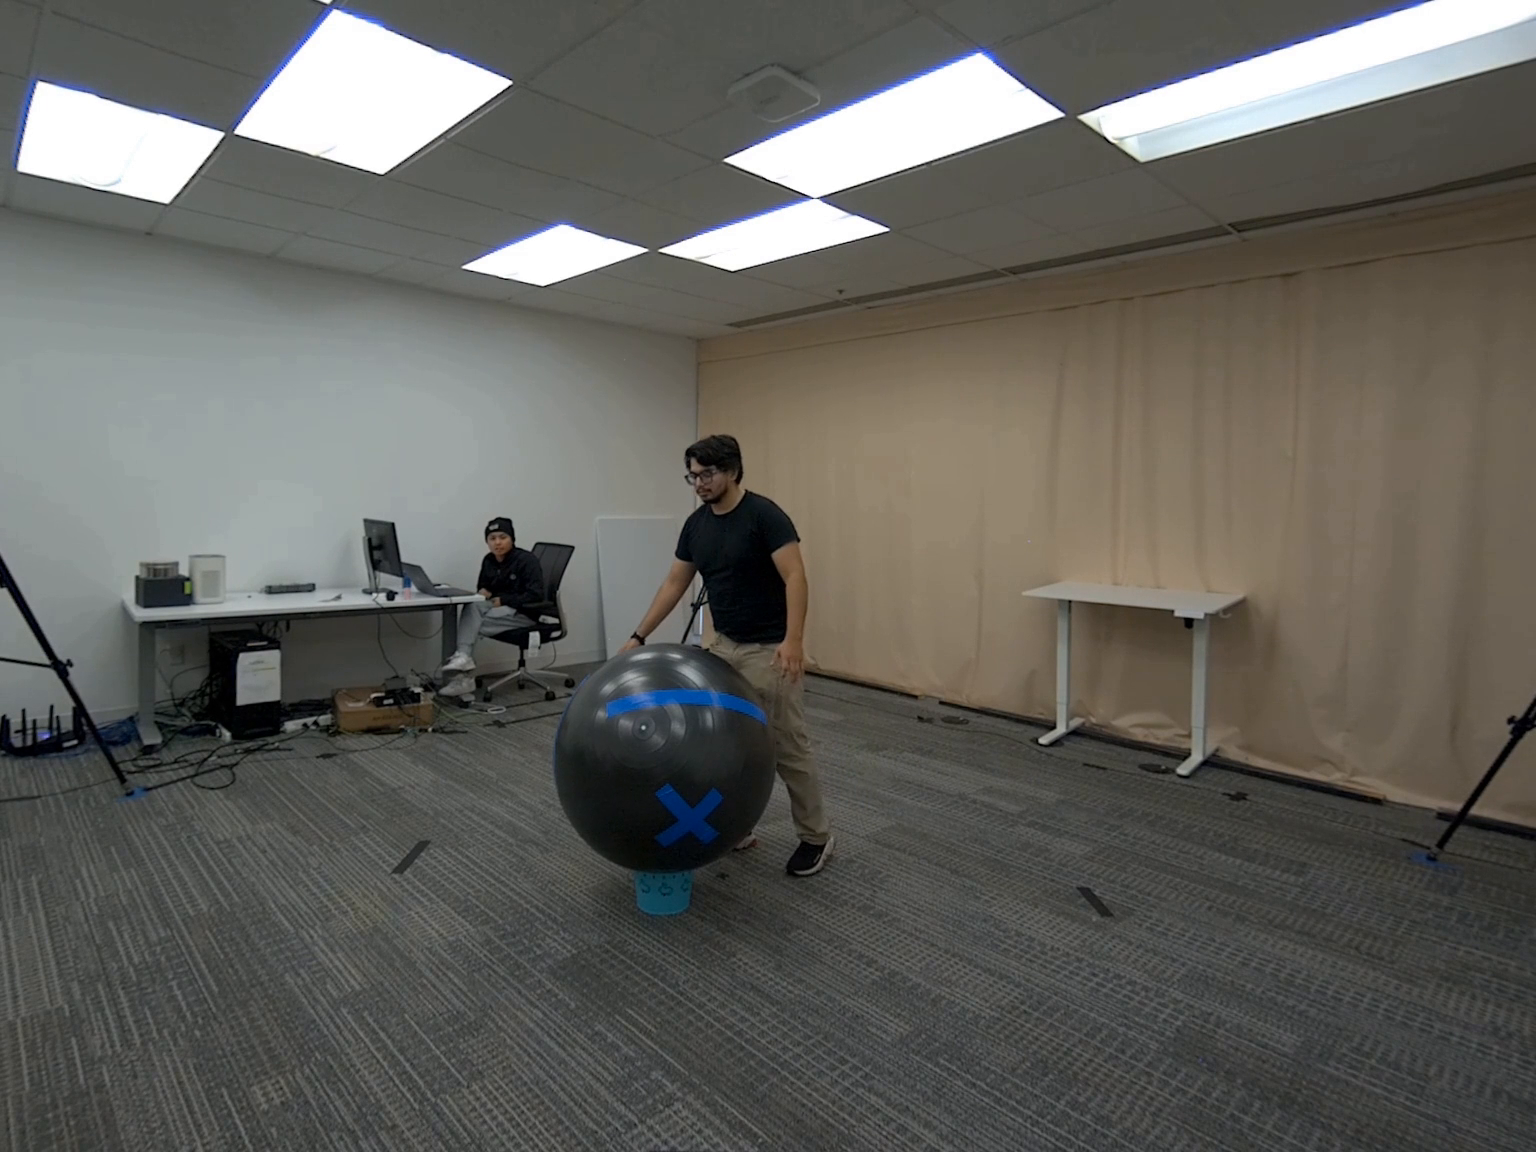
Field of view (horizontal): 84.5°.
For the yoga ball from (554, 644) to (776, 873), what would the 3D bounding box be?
[{"bbox_3d":[-0.349,0.623,2.863,0.757,0.756,0.761,1,4,-1],"label":"yoga ball"}]
